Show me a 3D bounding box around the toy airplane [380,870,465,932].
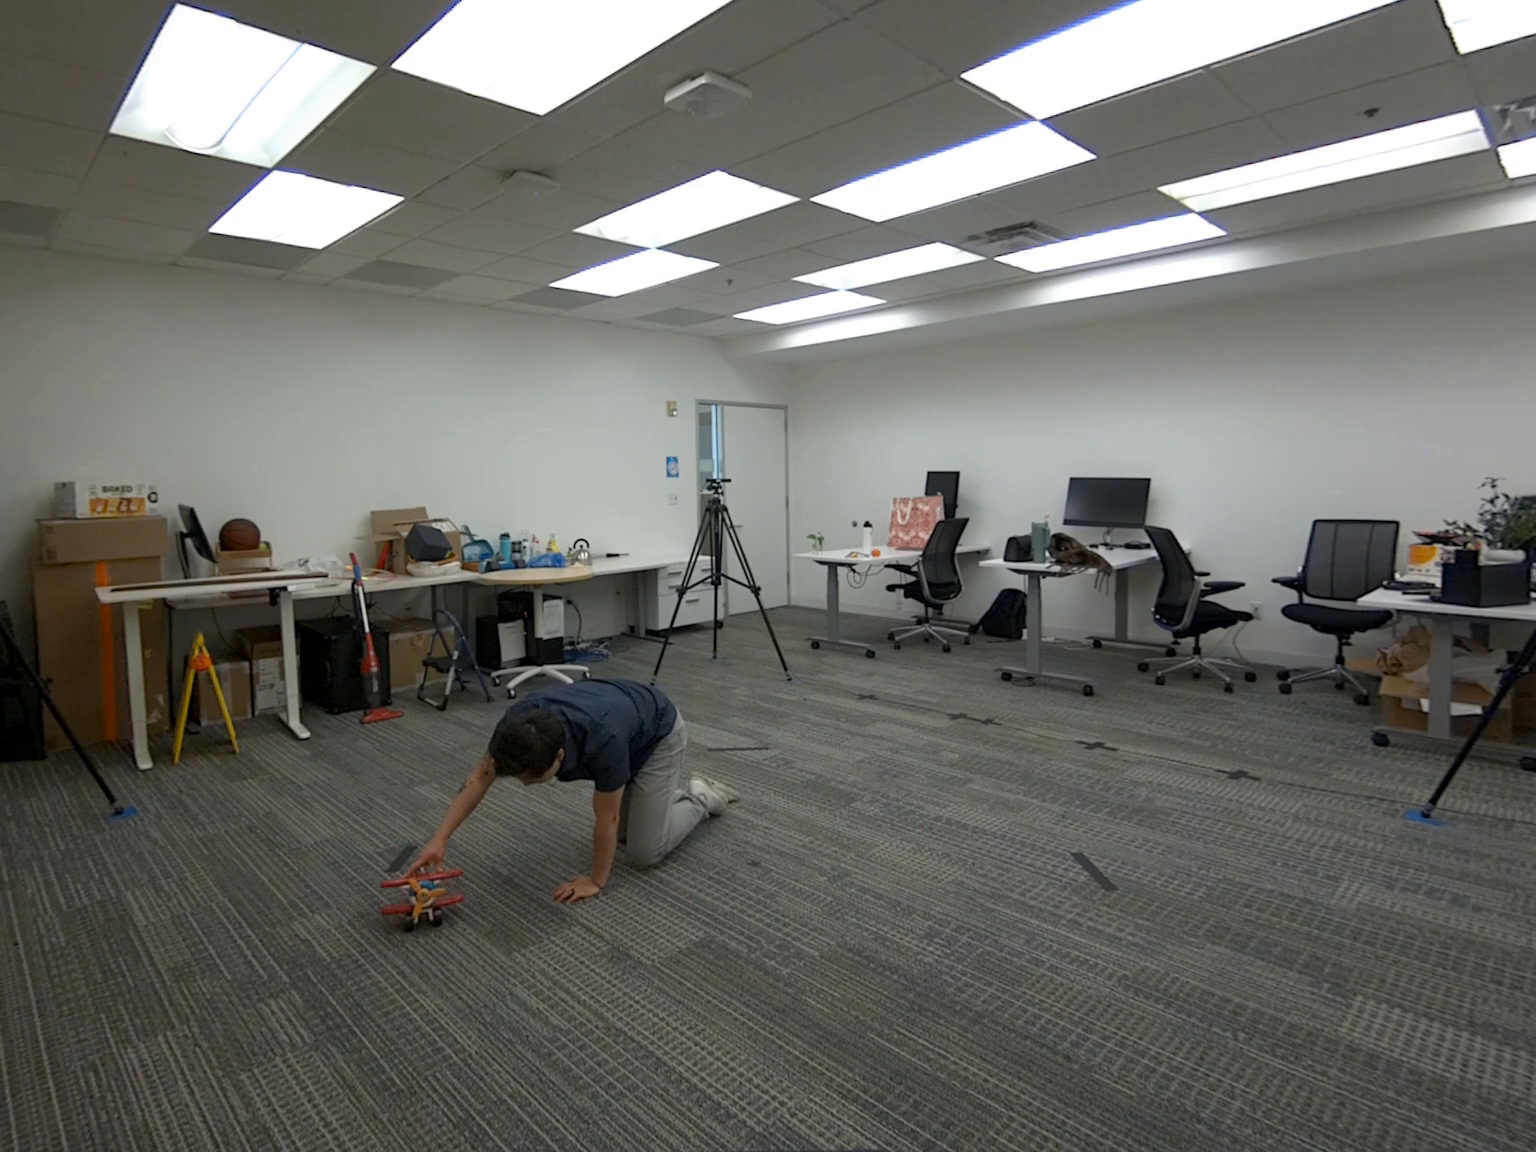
[{"bbox_3d":[-1.138,1.034,2.775,0.267,0.156,0.244,4,6,38],"label":"toy airplane"}]
